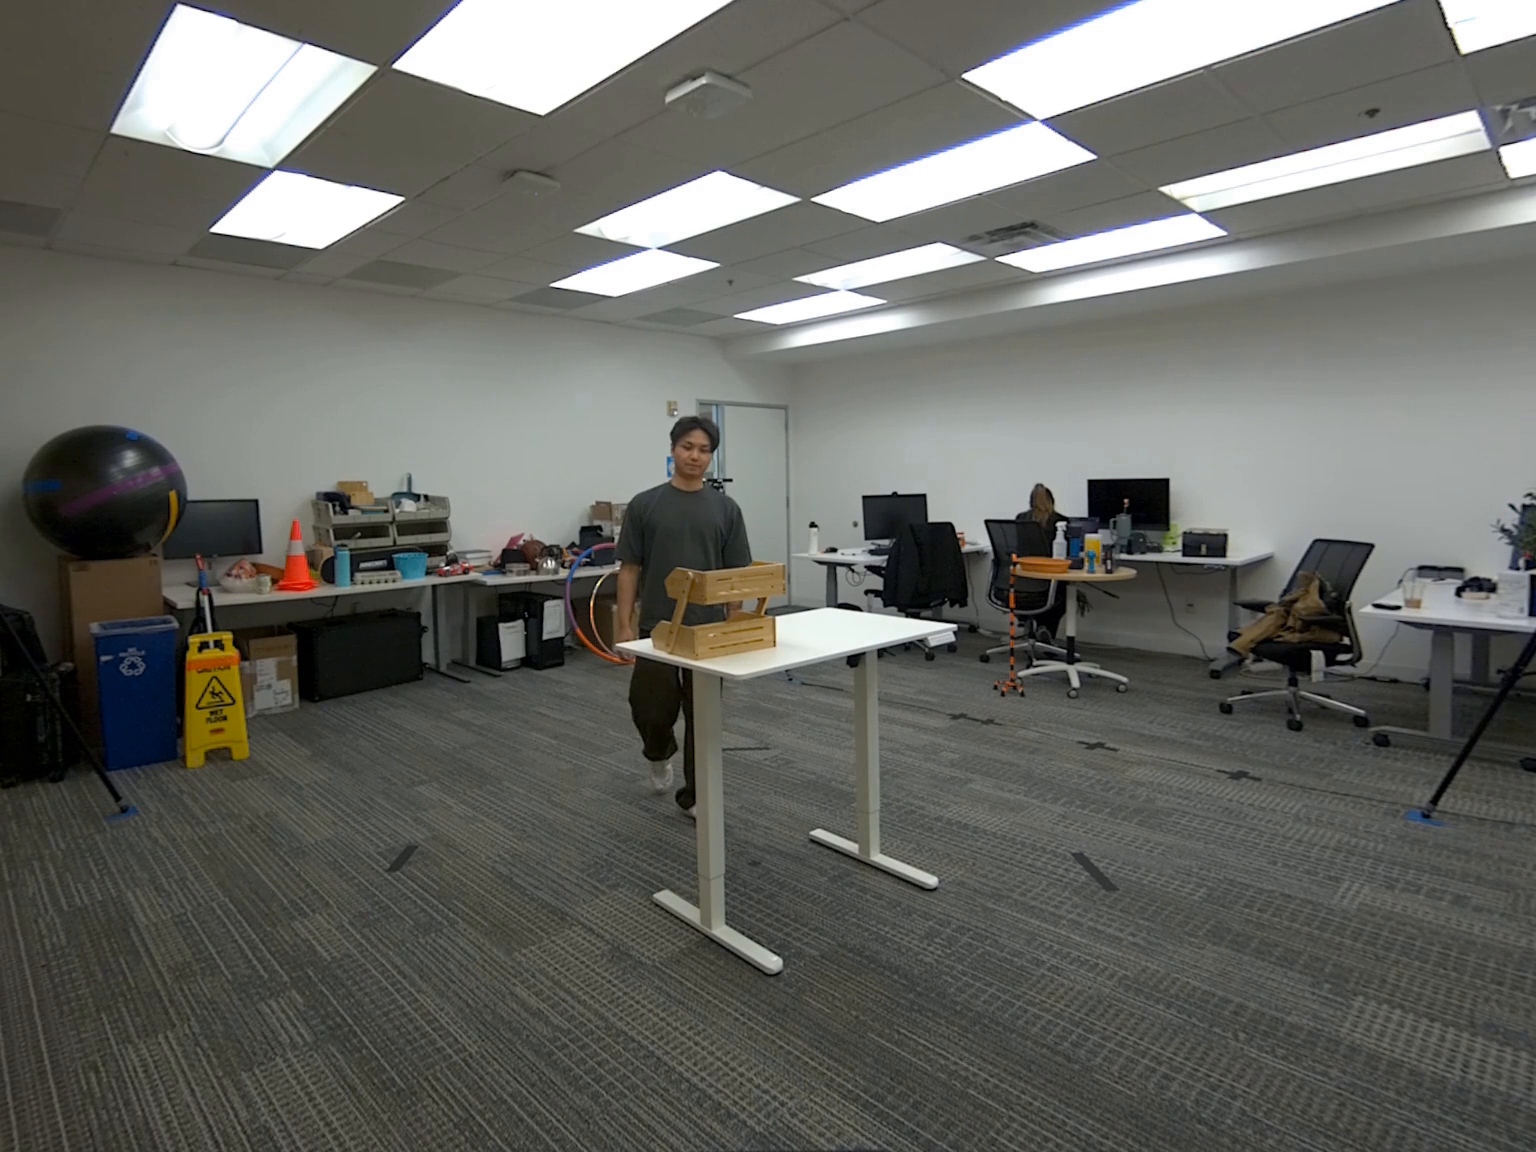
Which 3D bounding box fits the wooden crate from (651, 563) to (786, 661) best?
[{"bbox_3d":[-0.153,0.094,2.609,0.316,0.272,0.311,-6,7,-37],"label":"wooden crate"}]
